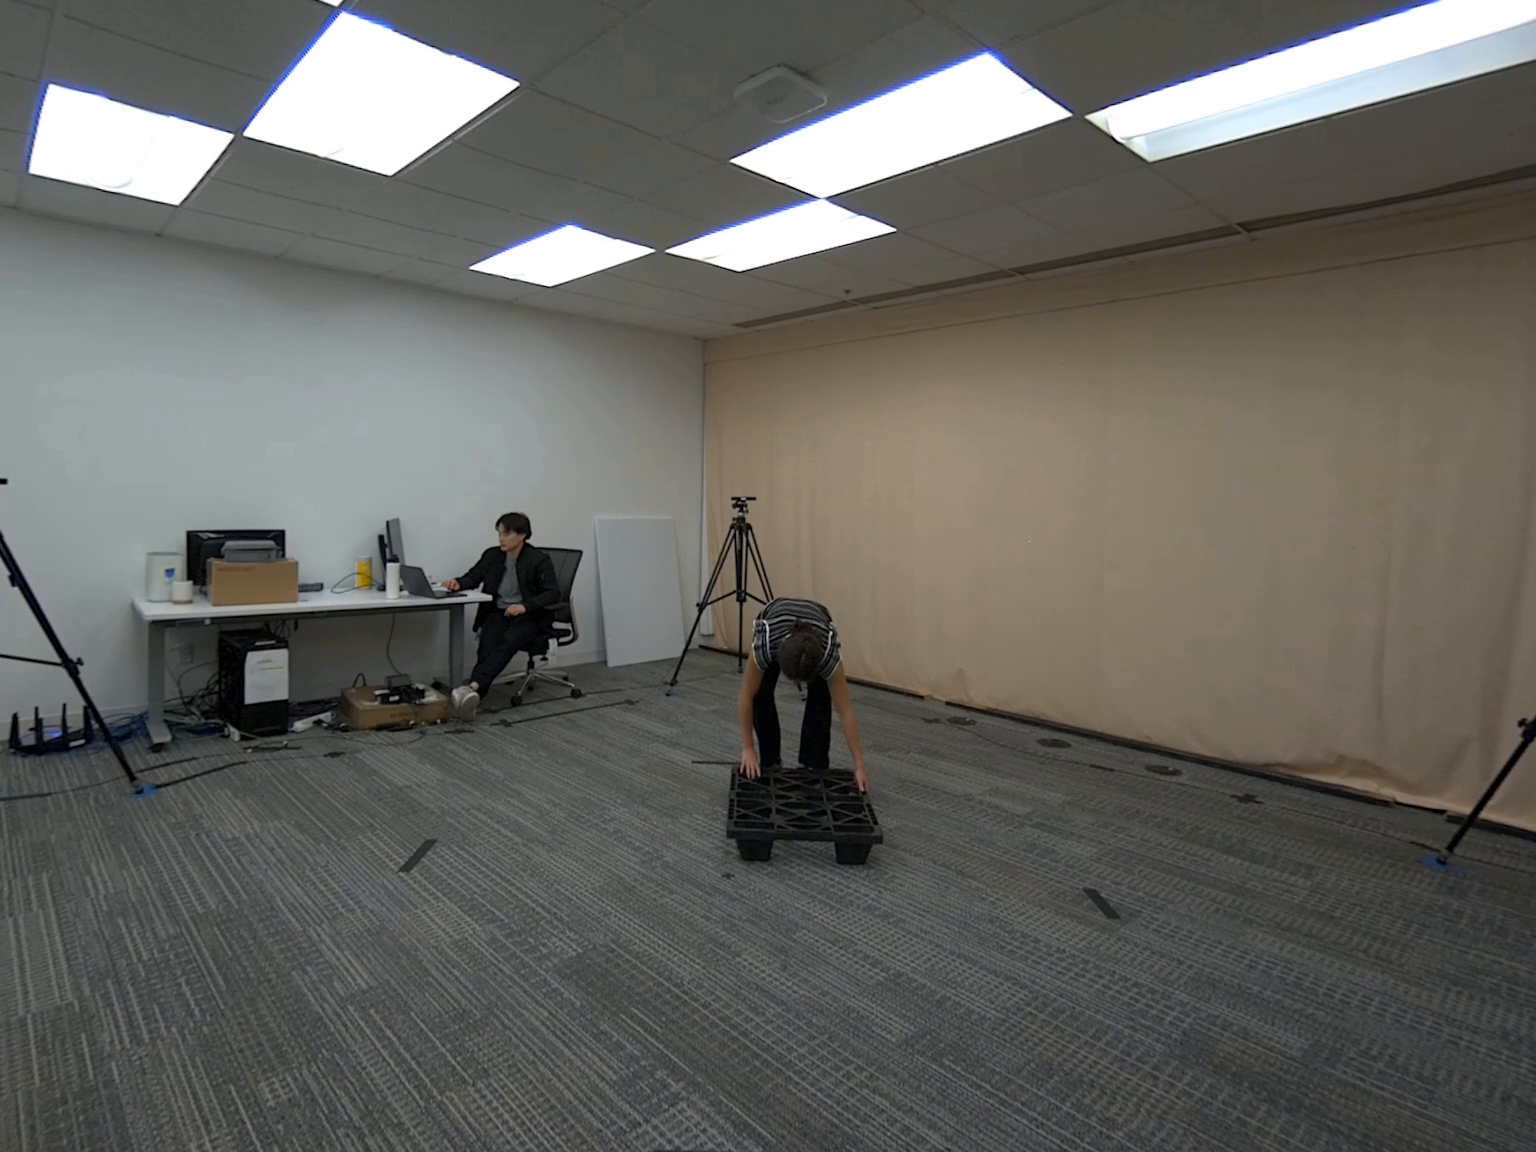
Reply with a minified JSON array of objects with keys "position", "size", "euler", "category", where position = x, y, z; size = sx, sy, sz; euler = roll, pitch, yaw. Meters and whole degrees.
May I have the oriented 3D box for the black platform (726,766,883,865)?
[{"position":[0.120,1.002,3.589],"size":[0.605,0.143,0.807],"euler":[2,5,0],"category":"black platform"}]
